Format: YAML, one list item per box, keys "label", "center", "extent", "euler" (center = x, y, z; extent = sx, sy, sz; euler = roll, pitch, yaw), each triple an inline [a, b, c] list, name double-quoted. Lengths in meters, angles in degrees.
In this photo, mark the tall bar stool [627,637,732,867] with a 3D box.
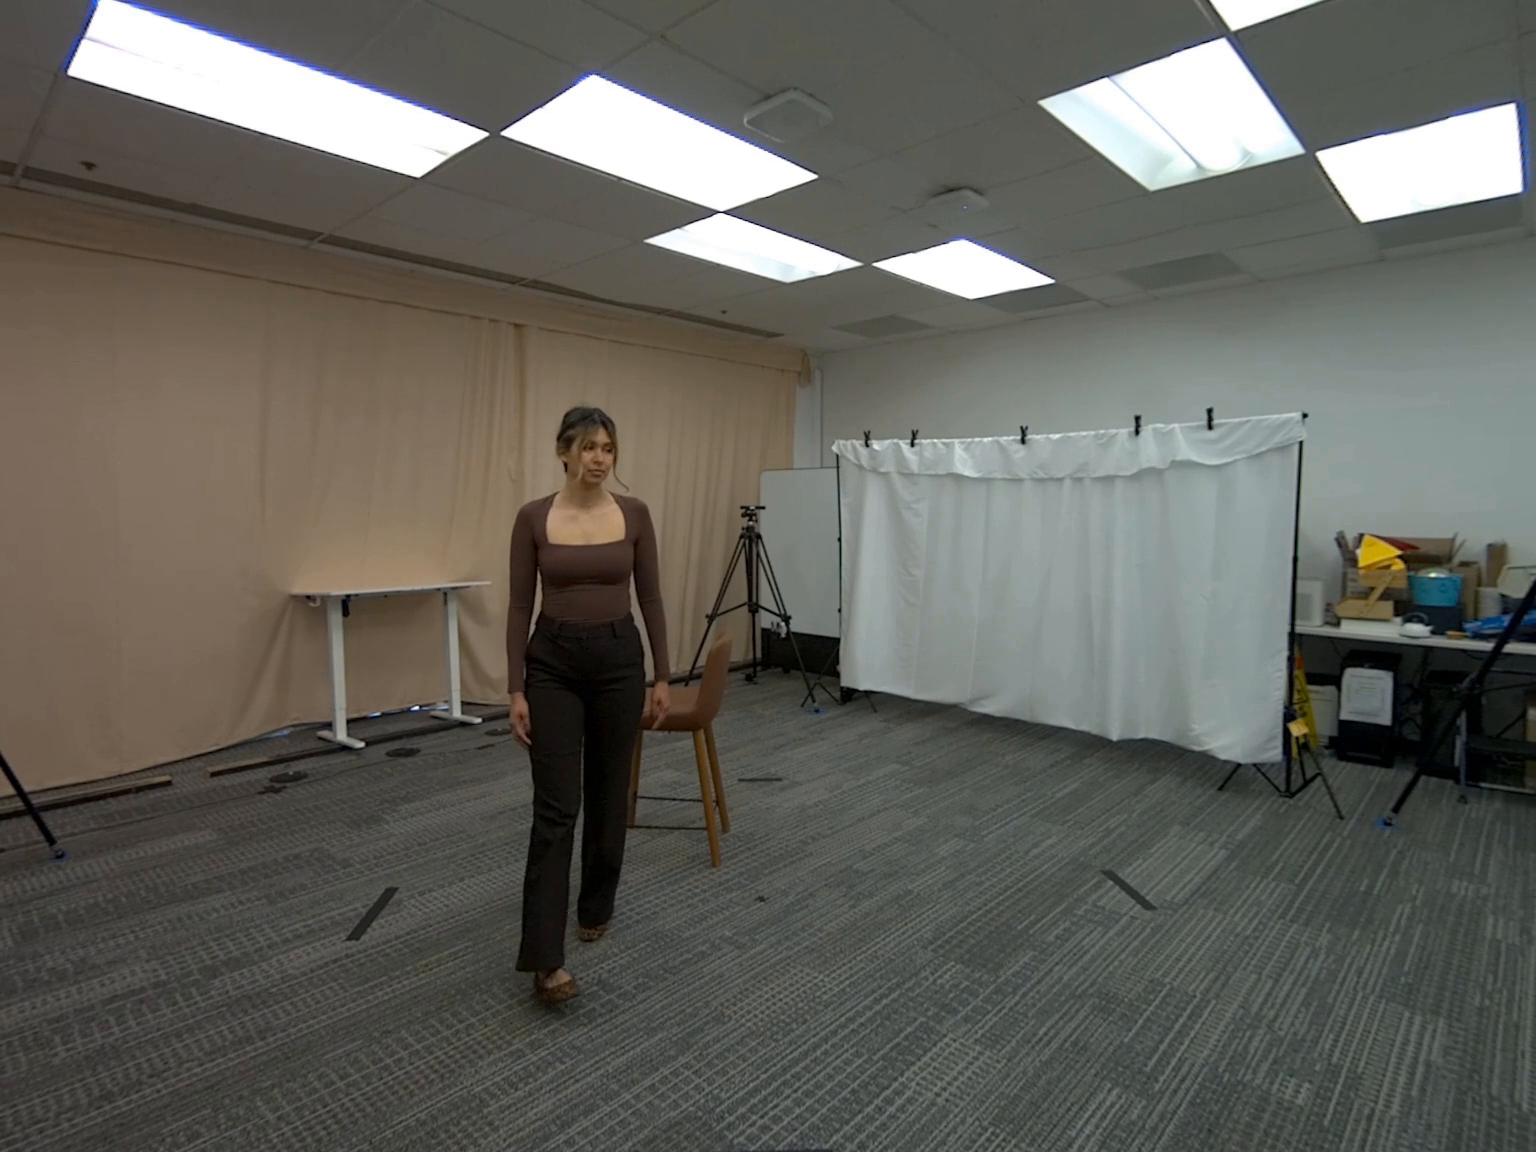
- label: "tall bar stool"
  center: [-0.398, 0.676, 3.437]
  extent: [0.471, 0.888, 0.454]
  euler: [1, 3, 5]
